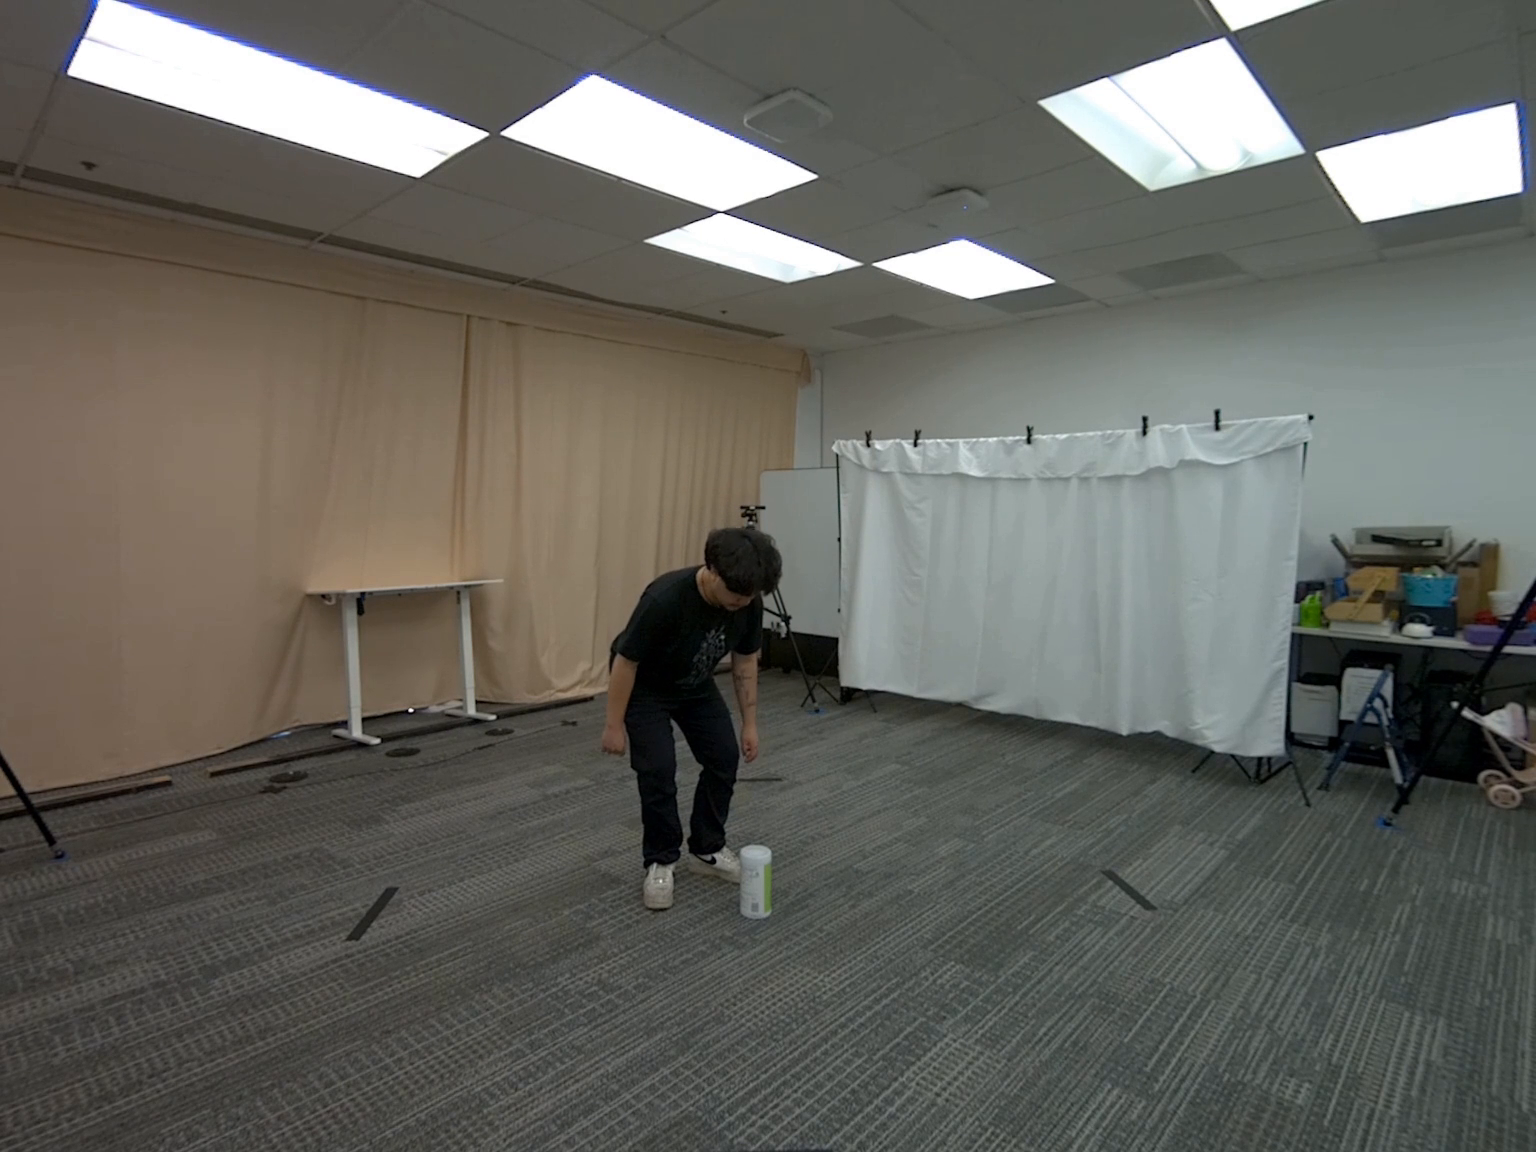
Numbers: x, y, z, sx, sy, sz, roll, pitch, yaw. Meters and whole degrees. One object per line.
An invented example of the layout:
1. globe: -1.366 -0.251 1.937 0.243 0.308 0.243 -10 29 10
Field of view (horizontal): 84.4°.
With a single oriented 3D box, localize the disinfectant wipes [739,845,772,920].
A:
1. disinfectant wipes: -0.037 1.049 2.875 0.118 0.217 0.118 0 3 -2
